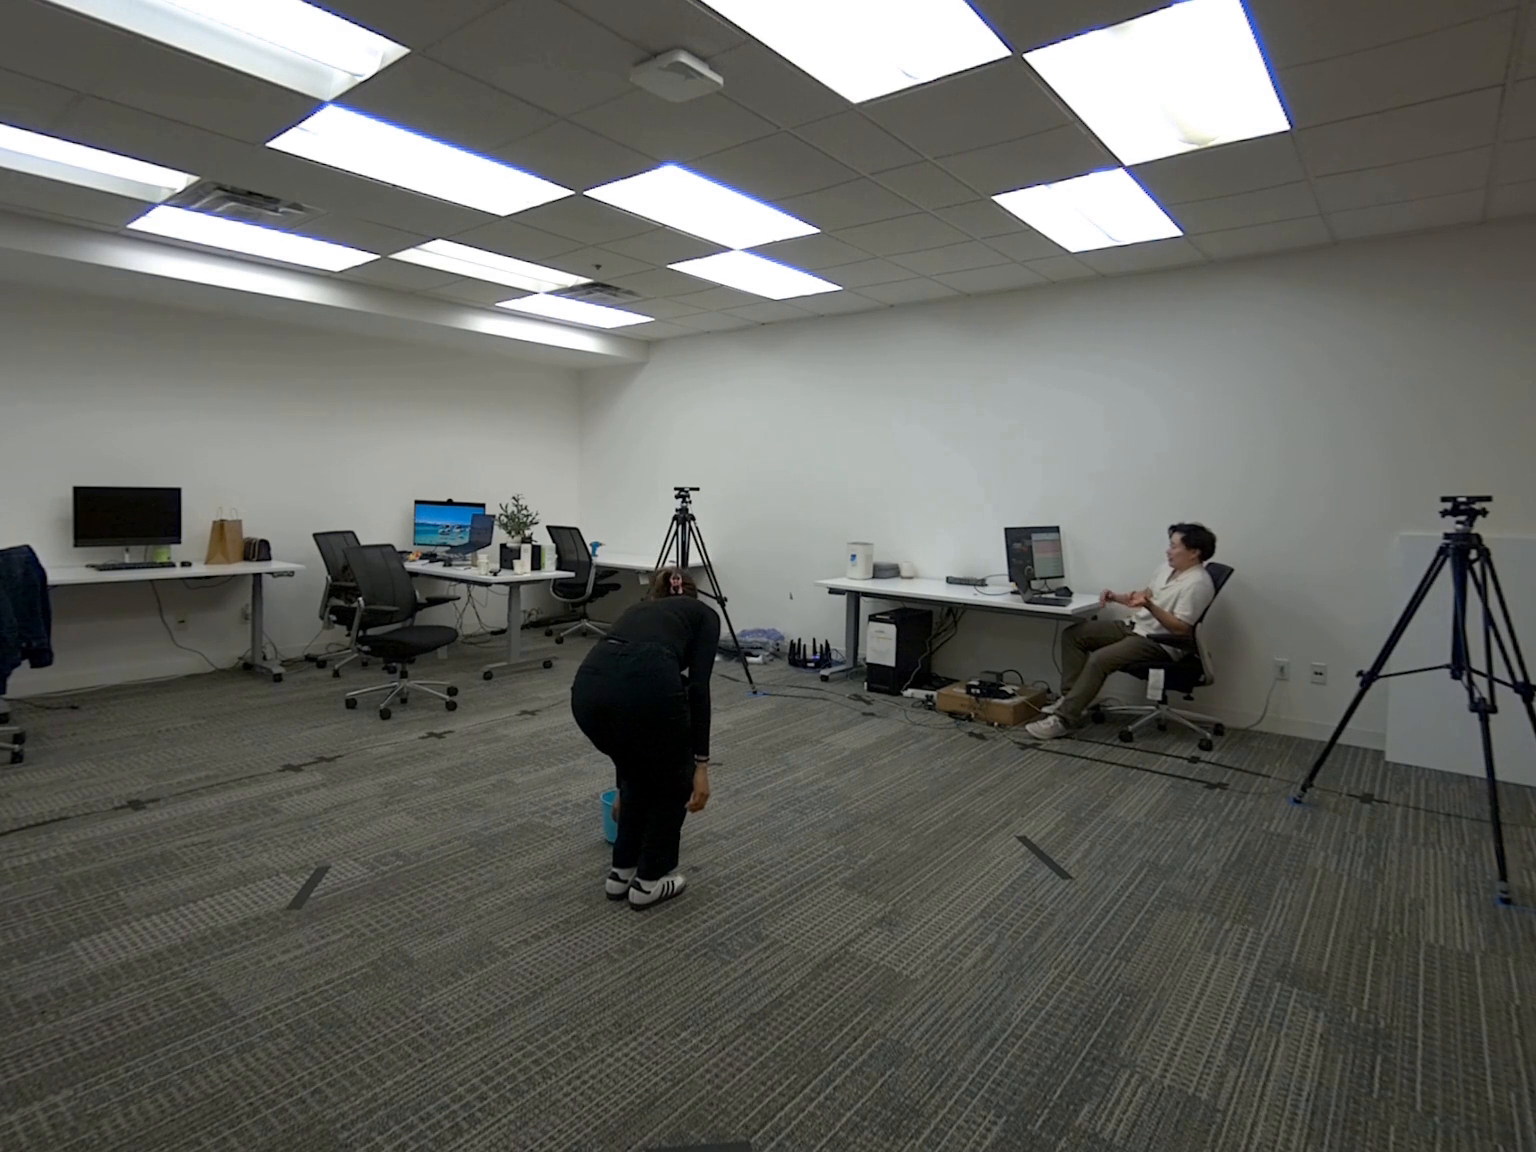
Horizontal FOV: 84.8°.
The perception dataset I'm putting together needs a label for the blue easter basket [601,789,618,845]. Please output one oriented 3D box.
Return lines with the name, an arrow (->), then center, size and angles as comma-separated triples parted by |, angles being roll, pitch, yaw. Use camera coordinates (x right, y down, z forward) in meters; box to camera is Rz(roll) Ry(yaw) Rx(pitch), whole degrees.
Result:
blue easter basket -> -0.553, 0.936, 3.356 | 0.243, 0.156, 0.244 | 4, 1, -2
